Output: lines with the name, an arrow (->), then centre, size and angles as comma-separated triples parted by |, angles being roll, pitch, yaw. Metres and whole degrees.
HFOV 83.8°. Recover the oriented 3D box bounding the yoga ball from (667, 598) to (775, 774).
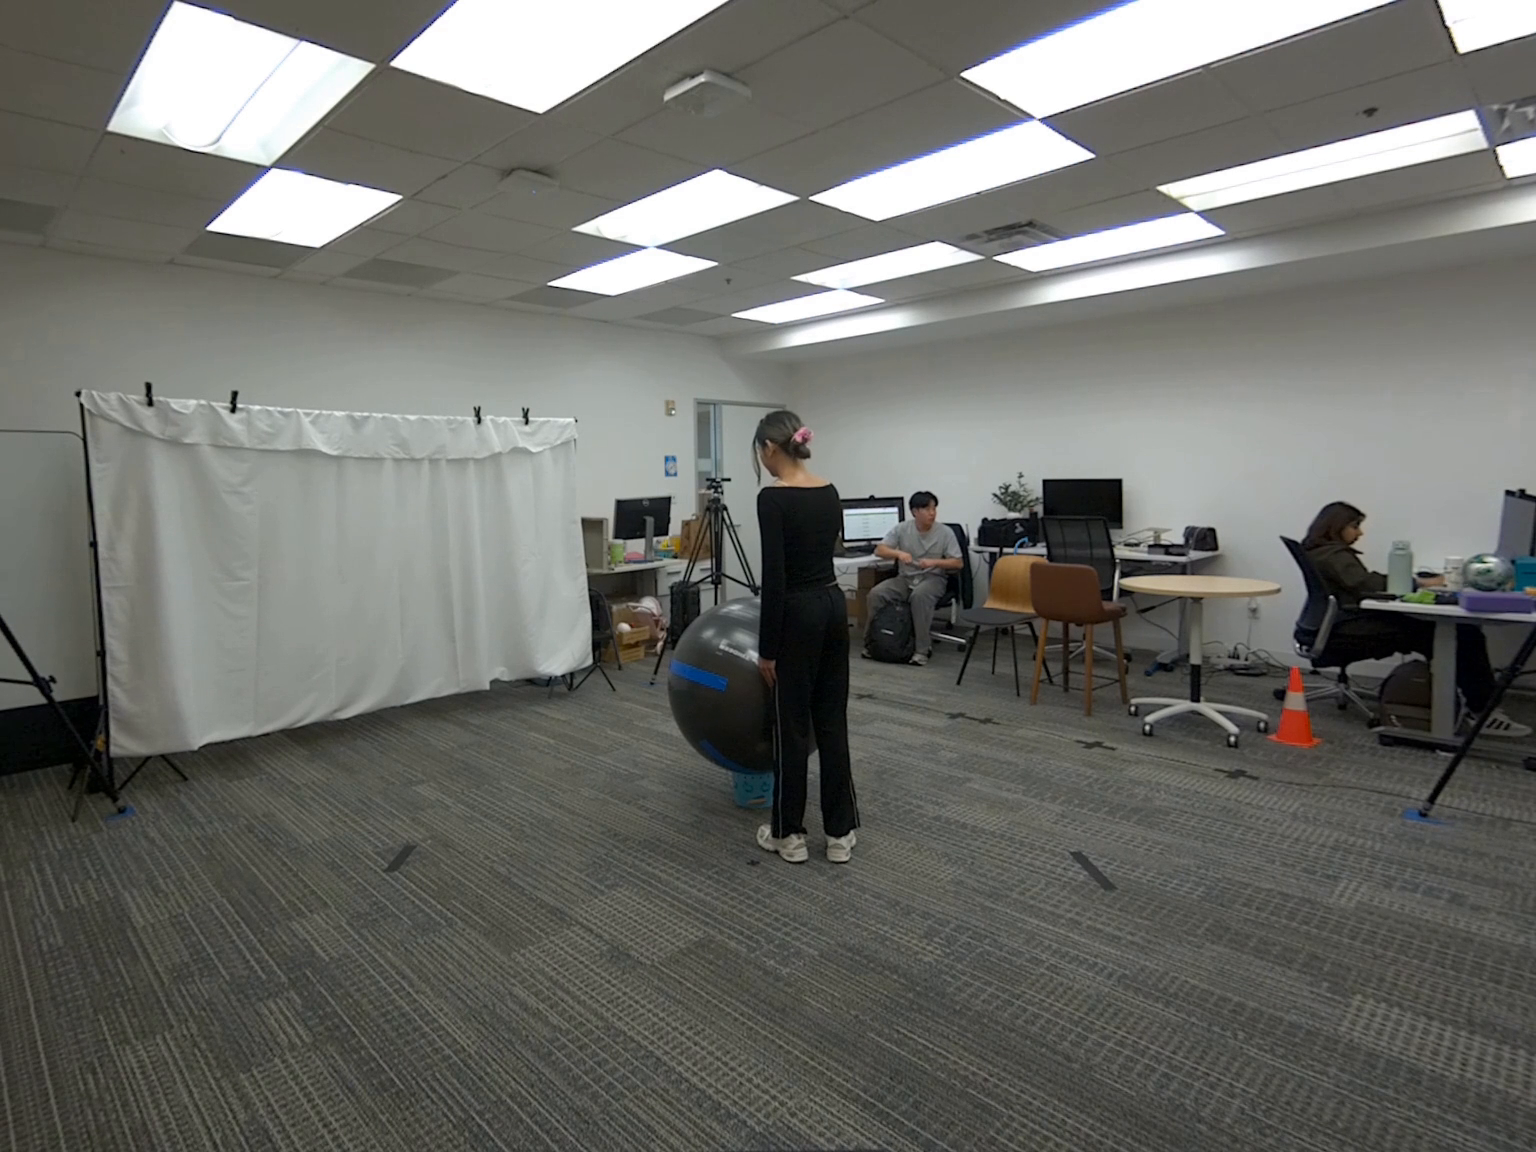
yoga ball -> -0.060, 0.467, 3.692 | 0.757, 0.755, 0.762 | -1, 5, -2
